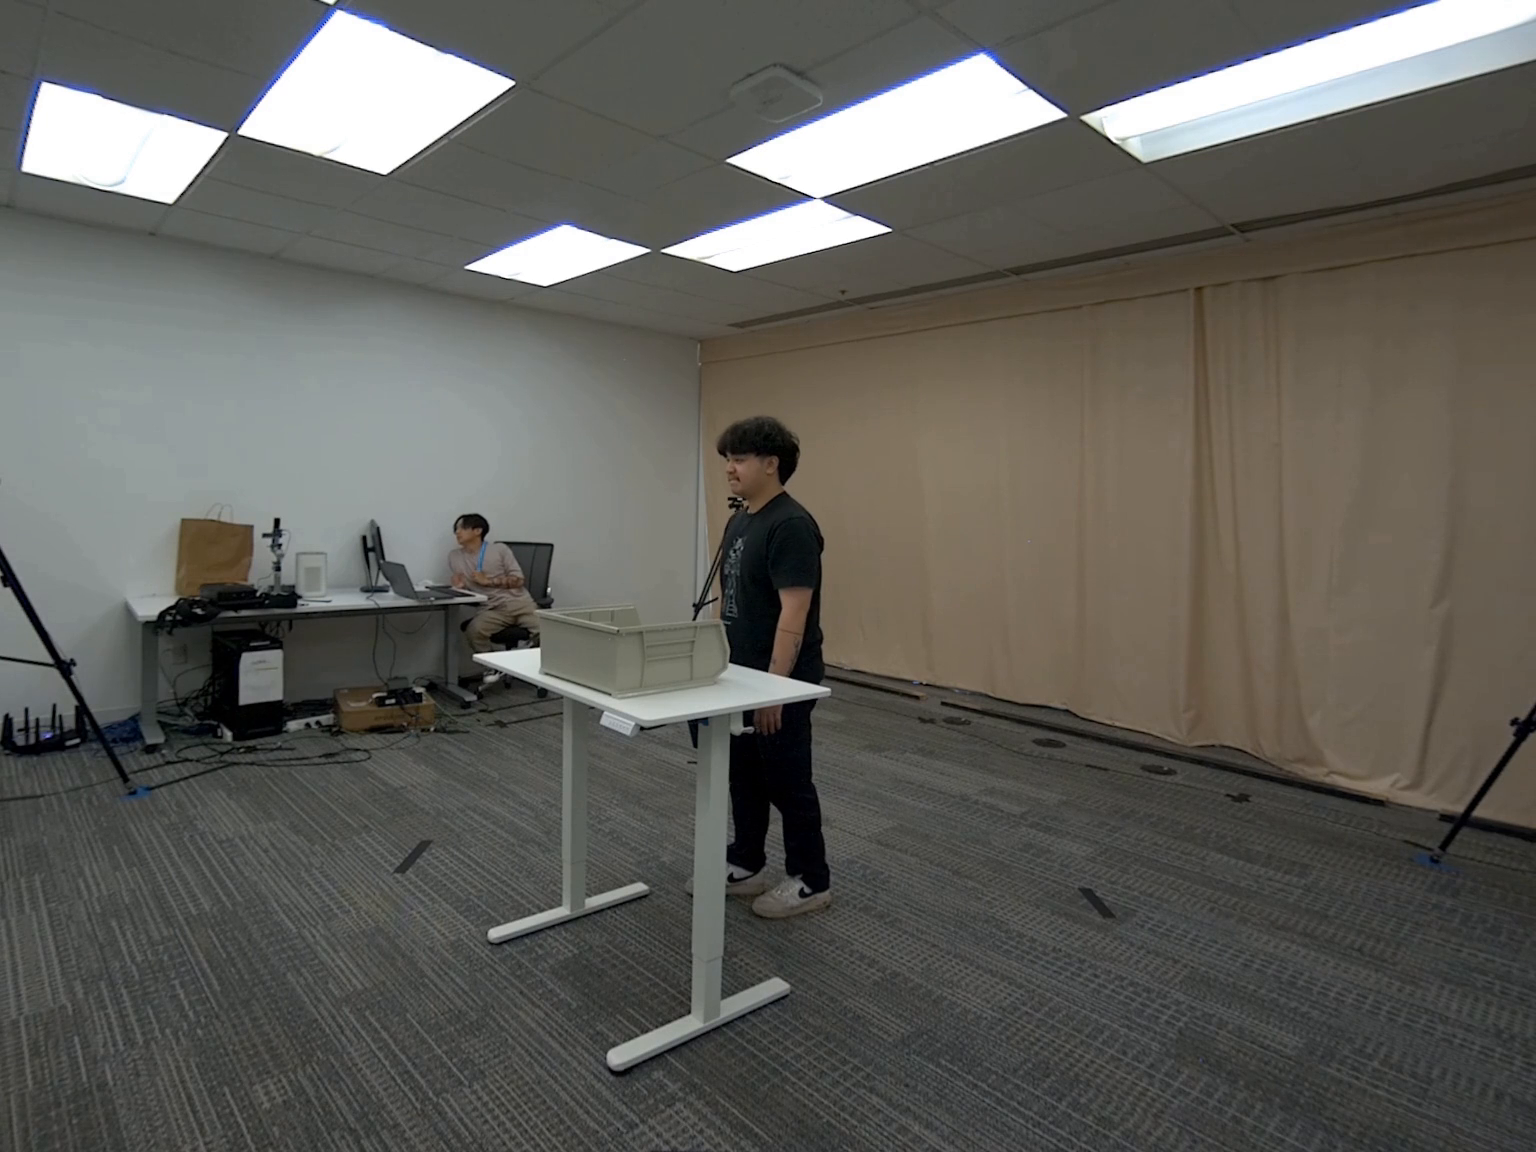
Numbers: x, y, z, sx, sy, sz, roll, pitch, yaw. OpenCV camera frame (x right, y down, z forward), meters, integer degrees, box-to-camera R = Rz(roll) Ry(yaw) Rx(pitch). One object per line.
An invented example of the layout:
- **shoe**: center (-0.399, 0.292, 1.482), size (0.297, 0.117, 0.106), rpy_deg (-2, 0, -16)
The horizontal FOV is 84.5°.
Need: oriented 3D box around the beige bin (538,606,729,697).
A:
- **beige bin**: center (-0.391, 0.201, 2.352), size (0.369, 0.188, 0.433), rpy_deg (-3, 6, -42)
